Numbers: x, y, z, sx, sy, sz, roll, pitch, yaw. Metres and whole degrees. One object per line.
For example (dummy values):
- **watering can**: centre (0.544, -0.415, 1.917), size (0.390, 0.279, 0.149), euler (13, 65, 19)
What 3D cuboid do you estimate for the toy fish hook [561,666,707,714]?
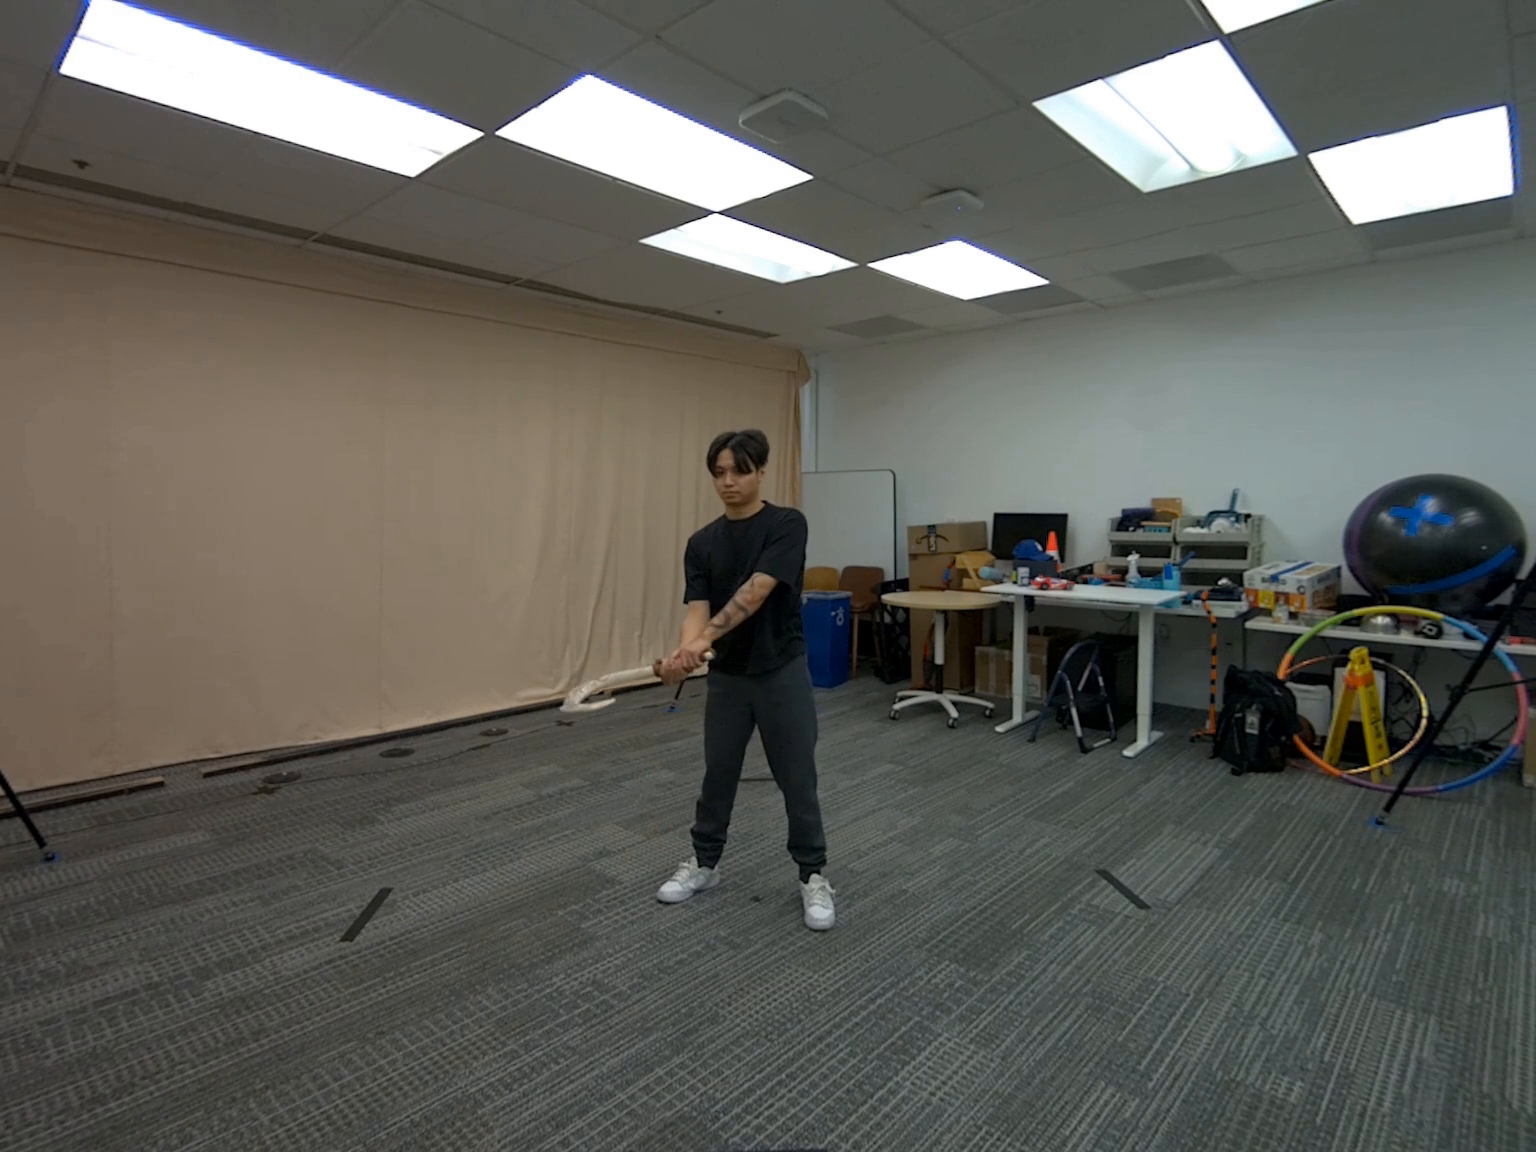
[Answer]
- **toy fish hook**: centre (-0.393, 0.329, 2.627), size (0.513, 0.047, 0.225), euler (-17, 17, 16)
